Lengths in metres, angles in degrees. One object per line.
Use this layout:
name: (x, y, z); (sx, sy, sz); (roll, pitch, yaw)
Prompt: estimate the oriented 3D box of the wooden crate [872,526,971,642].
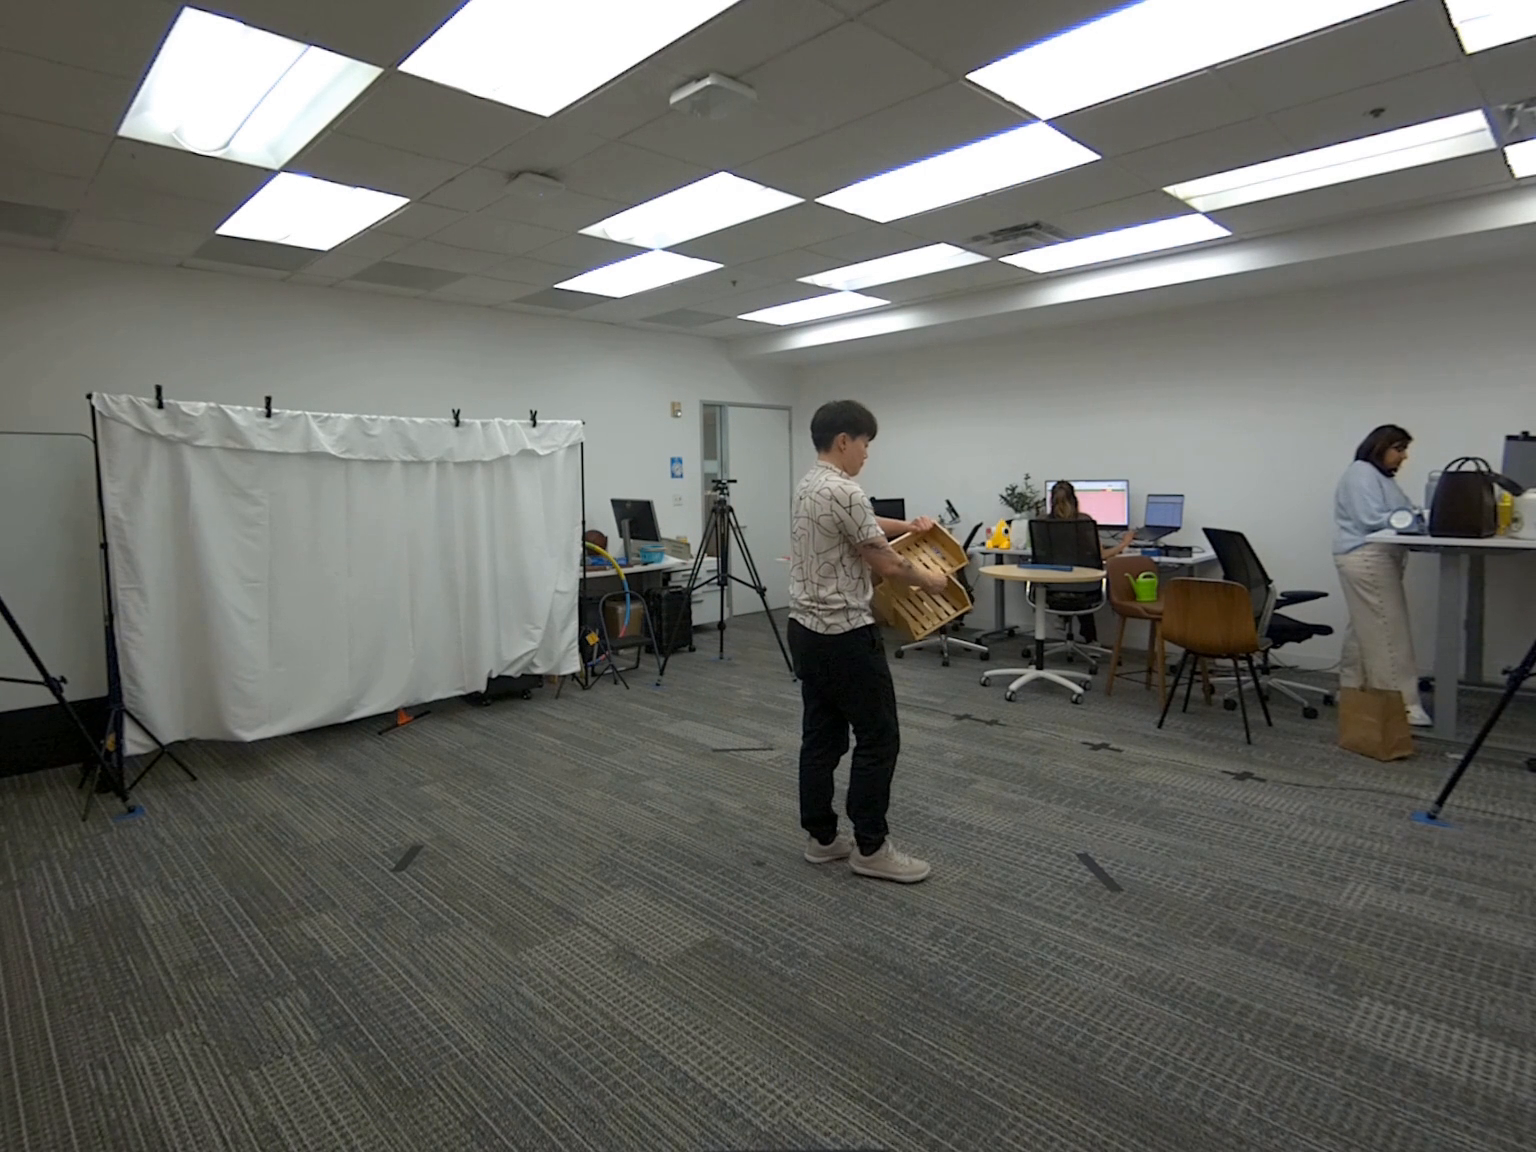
wooden crate: (0.595, 0.025, 3.226); (0.321, 0.267, 0.312); (-26, 57, -27)
